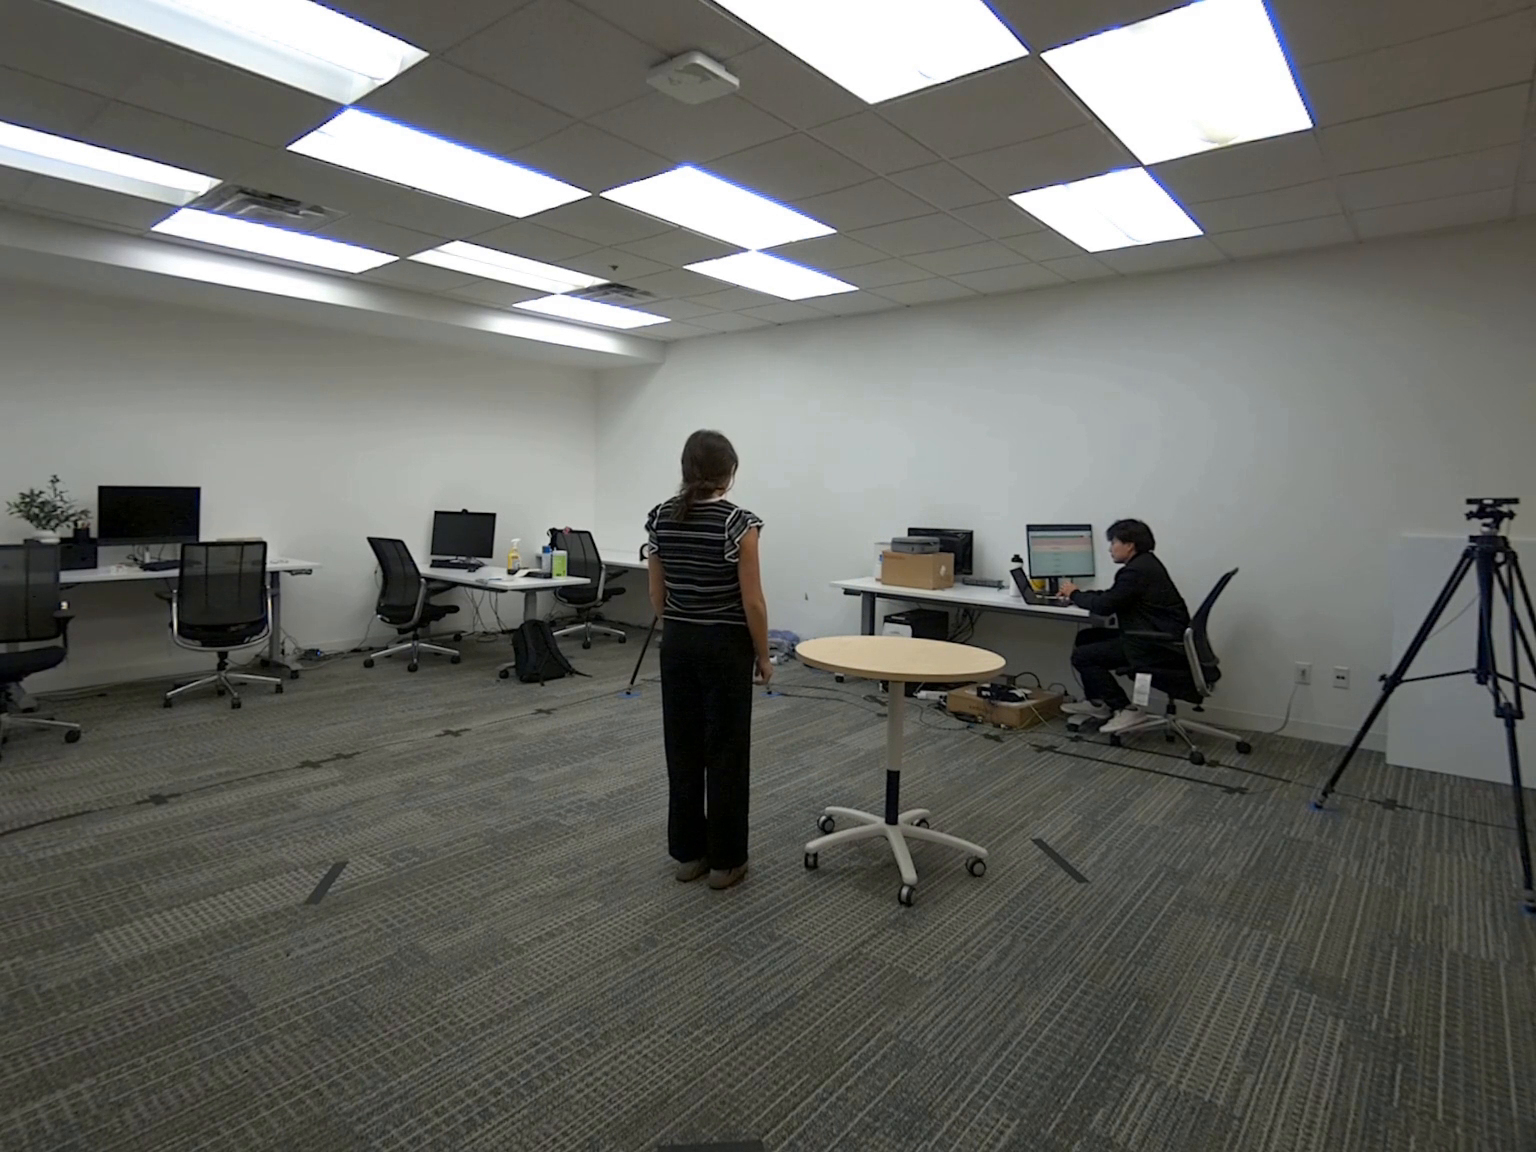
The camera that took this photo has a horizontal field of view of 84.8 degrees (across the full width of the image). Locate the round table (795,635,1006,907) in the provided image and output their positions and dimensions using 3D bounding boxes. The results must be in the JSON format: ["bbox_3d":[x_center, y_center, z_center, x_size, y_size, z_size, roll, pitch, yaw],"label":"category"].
[{"bbox_3d":[0.468,0.683,3.203,0.763,0.791,0.768,2,4,-2],"label":"round table"}]
